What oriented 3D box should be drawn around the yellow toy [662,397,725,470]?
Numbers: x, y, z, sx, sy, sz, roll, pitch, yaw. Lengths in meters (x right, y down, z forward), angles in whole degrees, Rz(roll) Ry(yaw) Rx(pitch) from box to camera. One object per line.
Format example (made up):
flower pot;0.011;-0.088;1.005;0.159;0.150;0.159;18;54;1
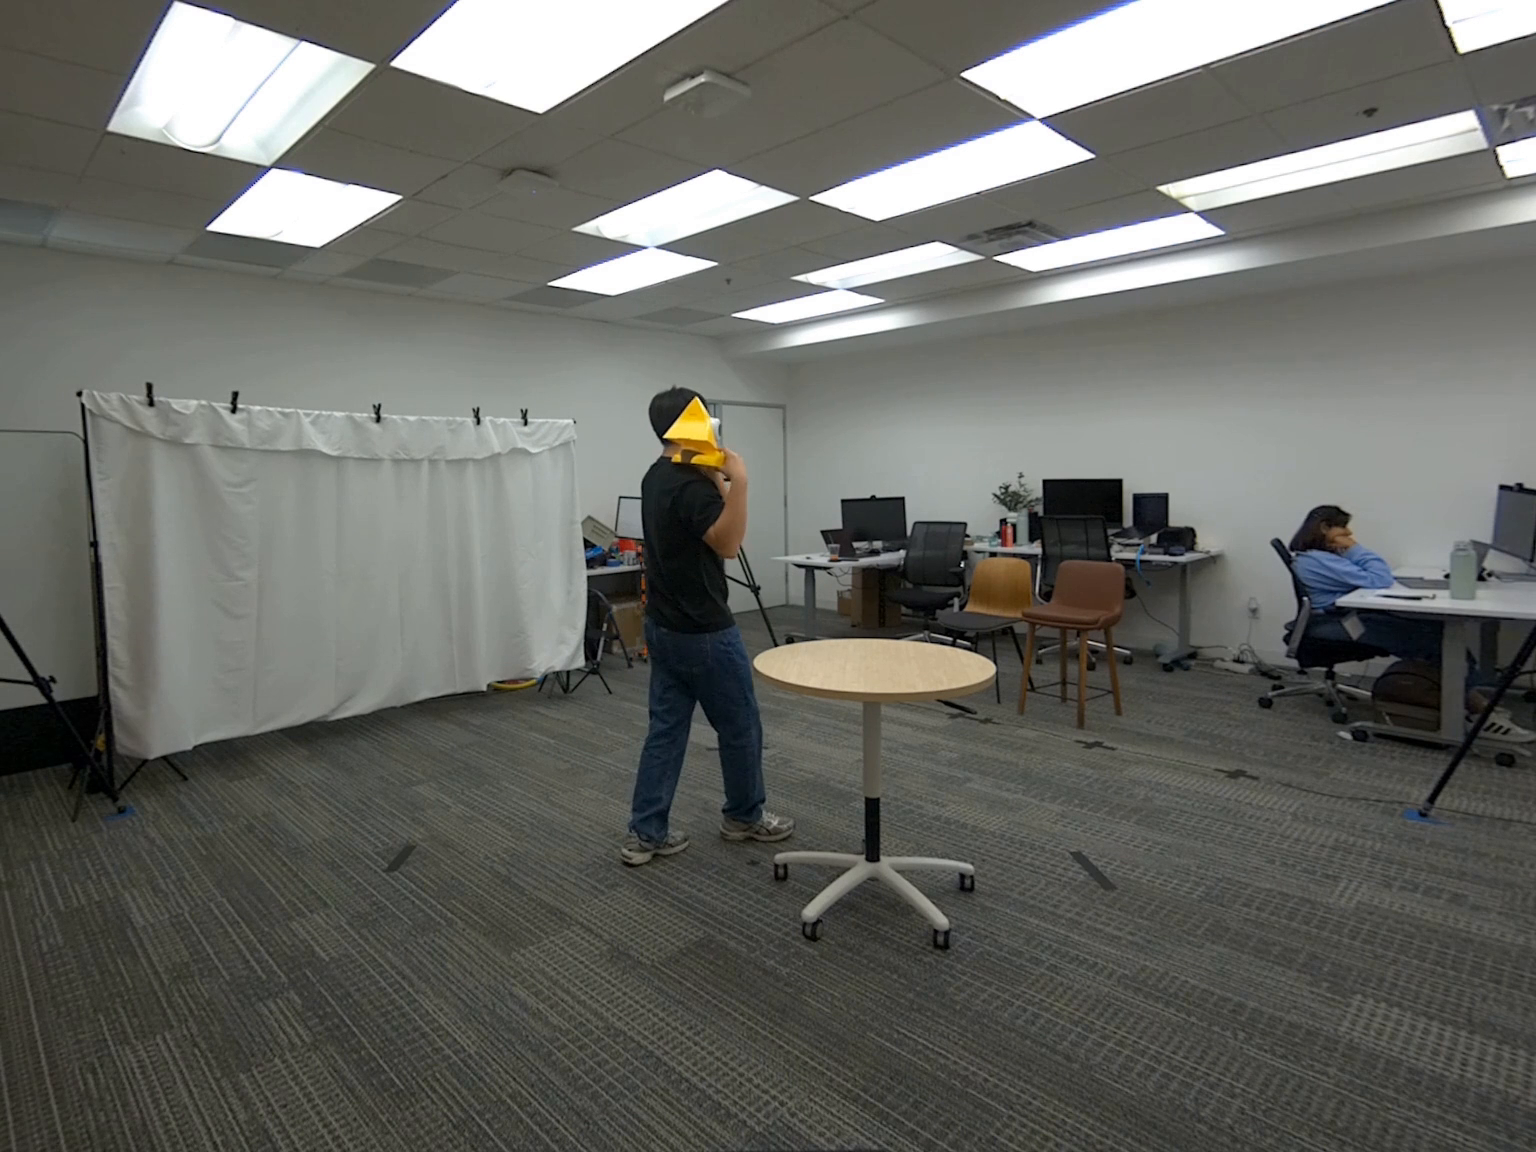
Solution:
yellow toy;-0.226;-0.506;3.000;0.211;0.230;0.187;8;2;36
